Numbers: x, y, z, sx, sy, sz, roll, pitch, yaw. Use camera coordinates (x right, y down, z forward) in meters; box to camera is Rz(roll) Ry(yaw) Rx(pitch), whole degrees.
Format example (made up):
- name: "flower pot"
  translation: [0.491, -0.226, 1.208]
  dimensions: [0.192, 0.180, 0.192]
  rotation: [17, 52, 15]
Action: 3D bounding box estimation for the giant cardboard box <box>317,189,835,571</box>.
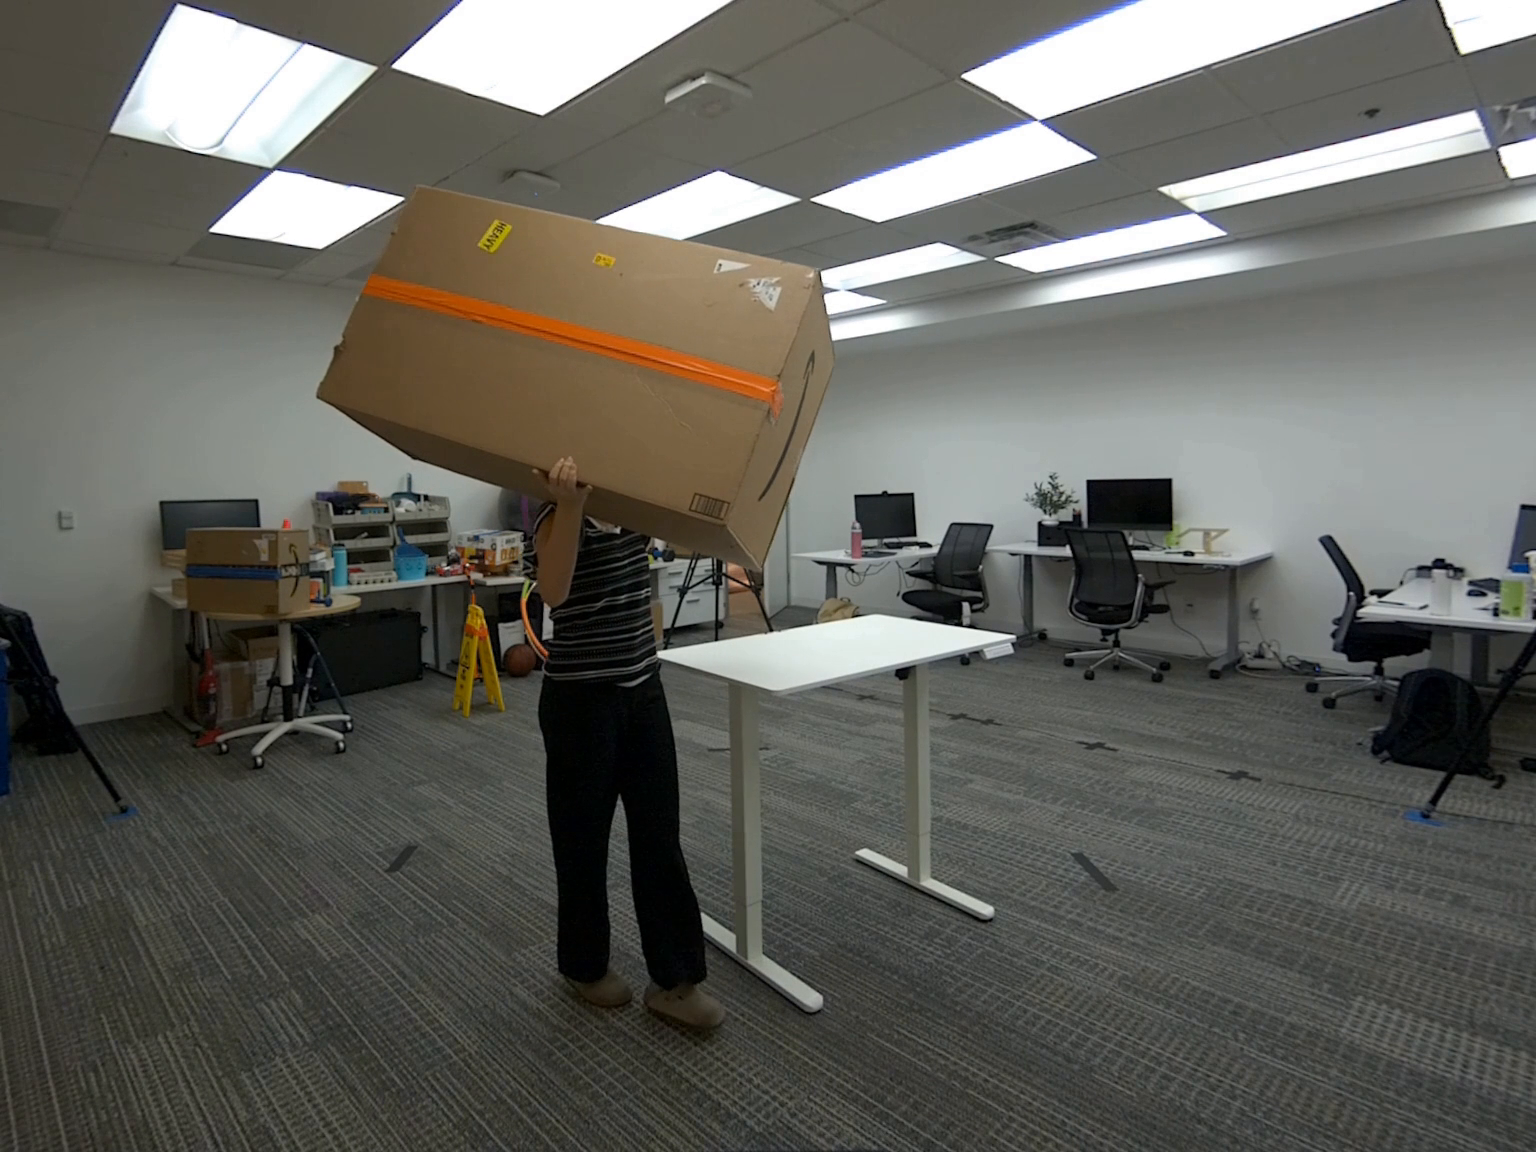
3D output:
- name: "giant cardboard box"
  translation: [-0.424, -0.469, 2.035]
  dimensions: [1.046, 0.581, 0.415]
  rotation: [18, -11, 16]
